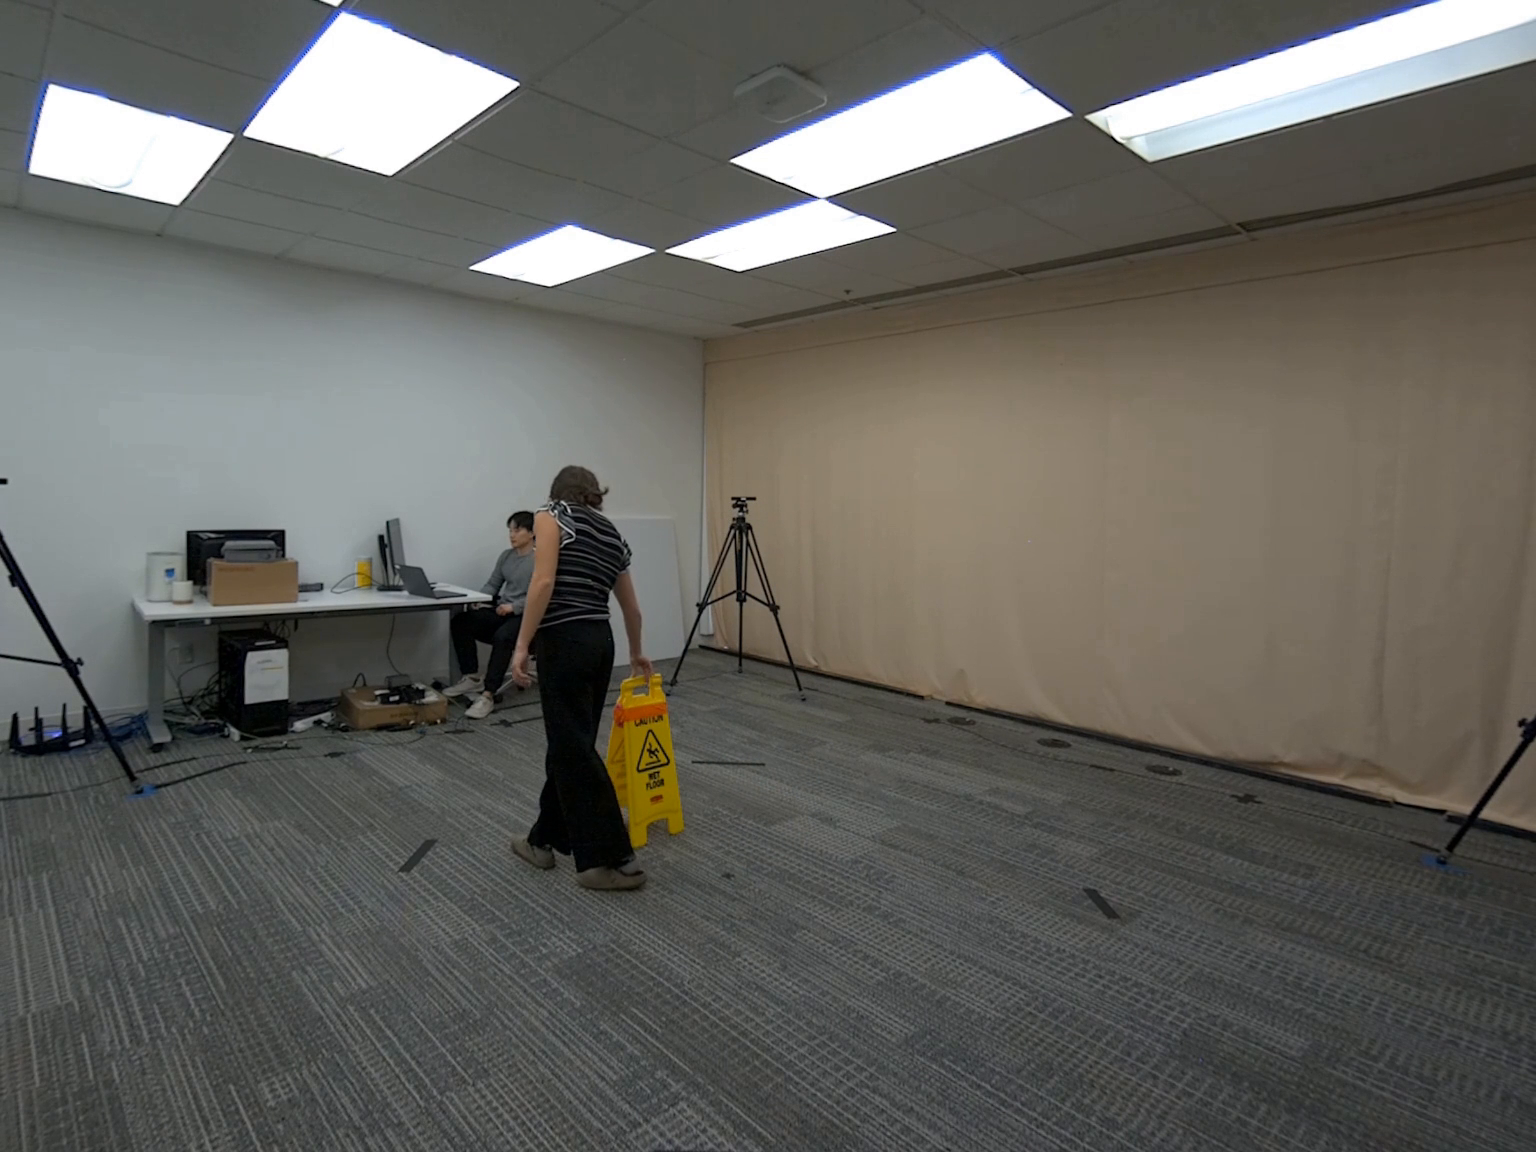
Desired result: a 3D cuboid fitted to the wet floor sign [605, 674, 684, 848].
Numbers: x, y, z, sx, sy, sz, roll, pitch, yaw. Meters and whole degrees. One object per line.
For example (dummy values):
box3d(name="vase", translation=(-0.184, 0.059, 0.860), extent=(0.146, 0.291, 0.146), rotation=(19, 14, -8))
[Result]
box3d(name="wet floor sign", translation=(-0.540, 0.739, 3.496), extent=(0.297, 0.645, 0.276), rotation=(3, 3, 42))
